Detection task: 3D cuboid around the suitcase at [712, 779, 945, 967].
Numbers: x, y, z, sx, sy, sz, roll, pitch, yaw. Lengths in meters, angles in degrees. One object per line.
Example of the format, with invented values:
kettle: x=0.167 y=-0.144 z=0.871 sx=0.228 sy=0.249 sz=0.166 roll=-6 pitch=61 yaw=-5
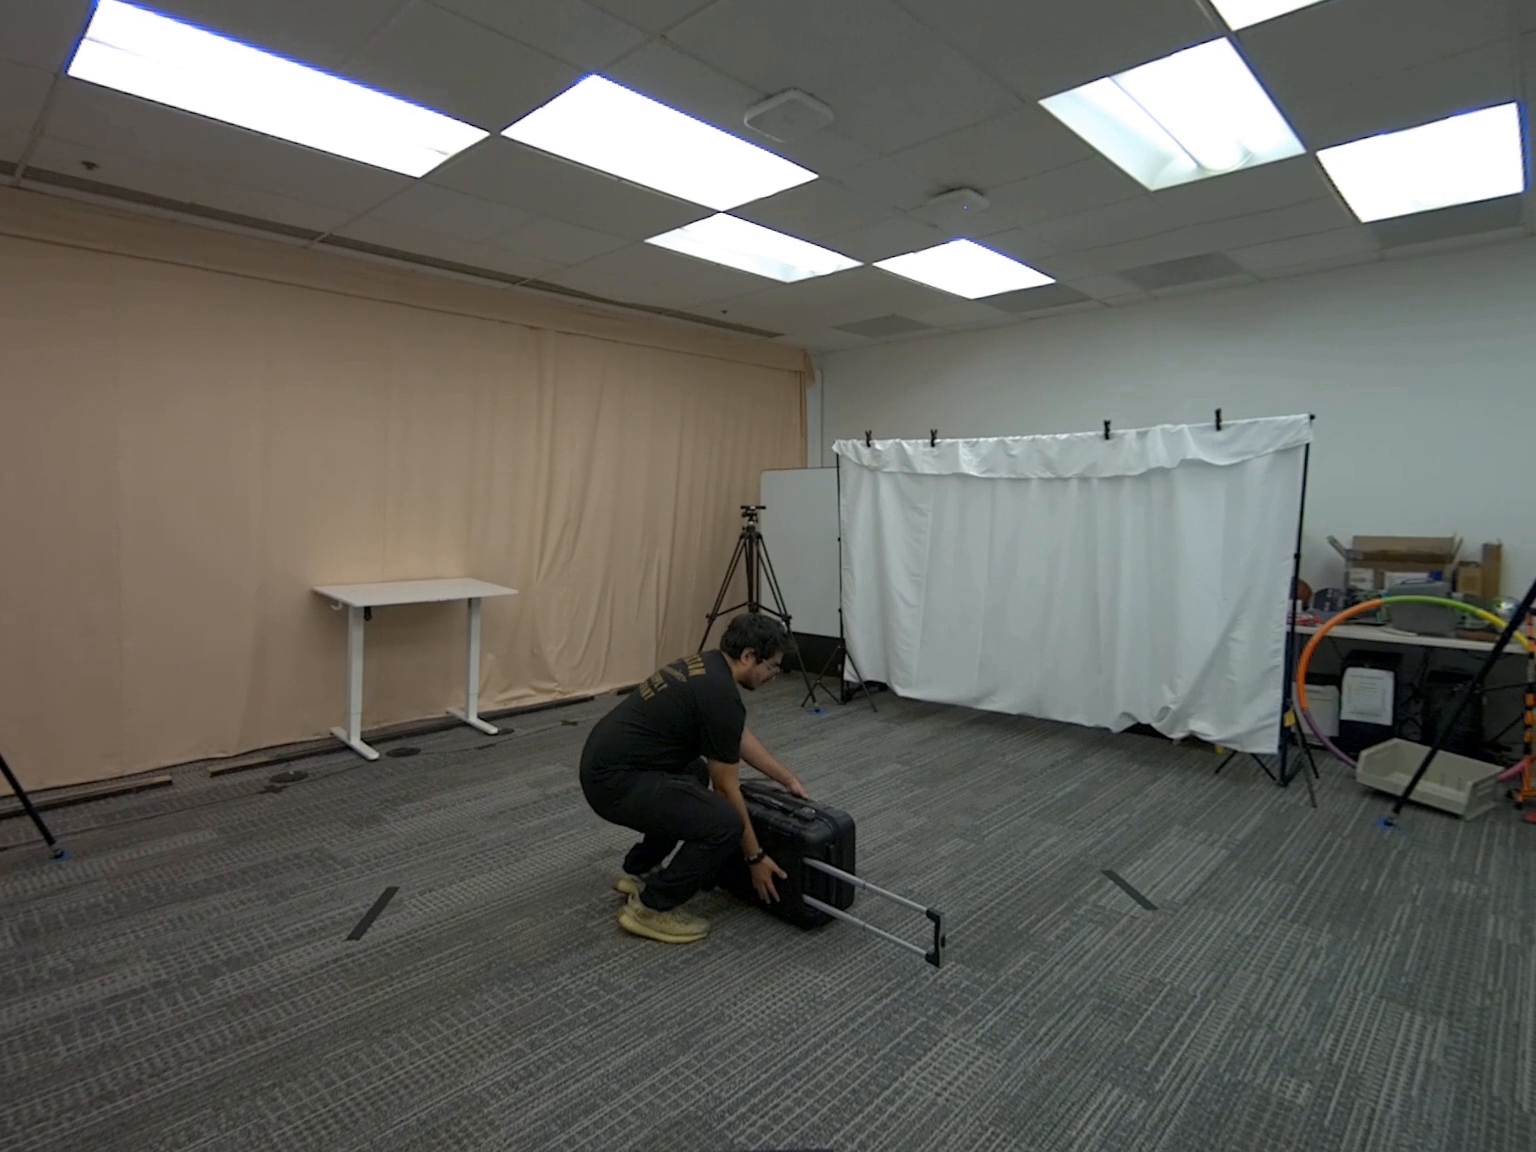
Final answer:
suitcase: x=0.205 y=0.972 z=2.792 sx=1.012 sy=0.383 sz=0.249 roll=5 pitch=7 yaw=43
